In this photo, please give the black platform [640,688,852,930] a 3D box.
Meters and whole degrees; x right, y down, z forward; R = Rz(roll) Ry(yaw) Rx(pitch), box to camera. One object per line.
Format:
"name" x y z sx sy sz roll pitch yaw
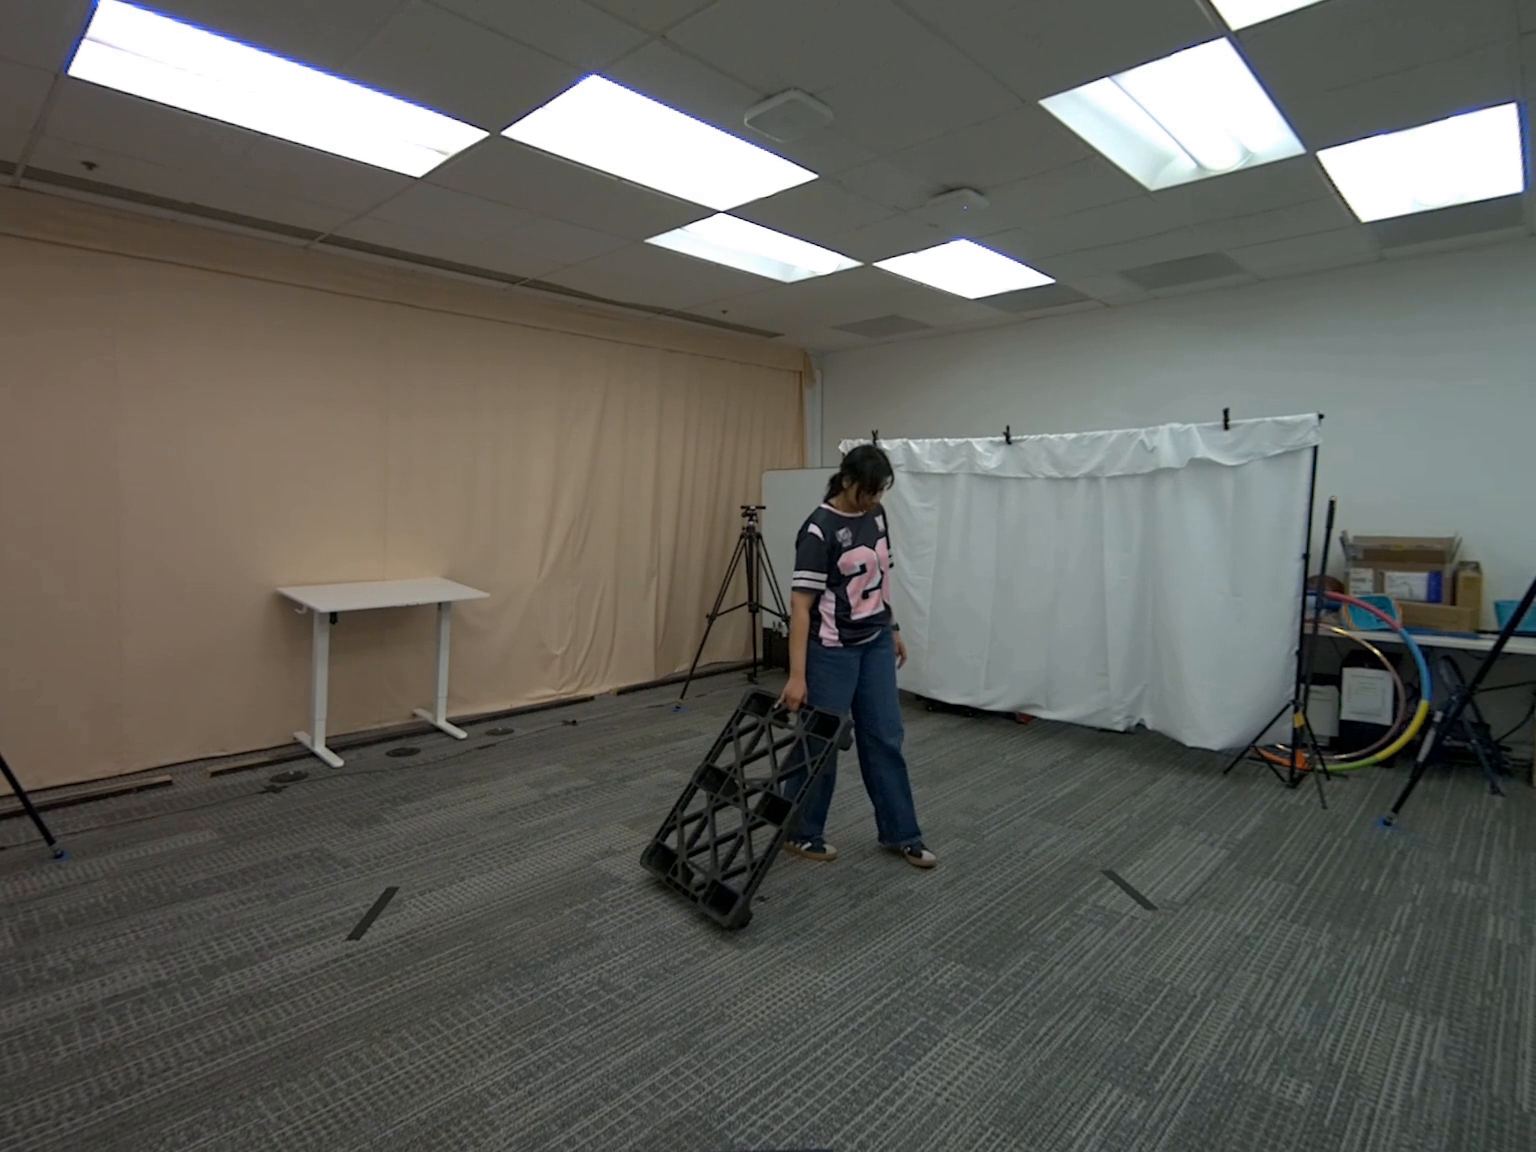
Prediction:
"black platform" -0.060 0.818 3.061 0.139 0.804 0.624 44 -21 -29
